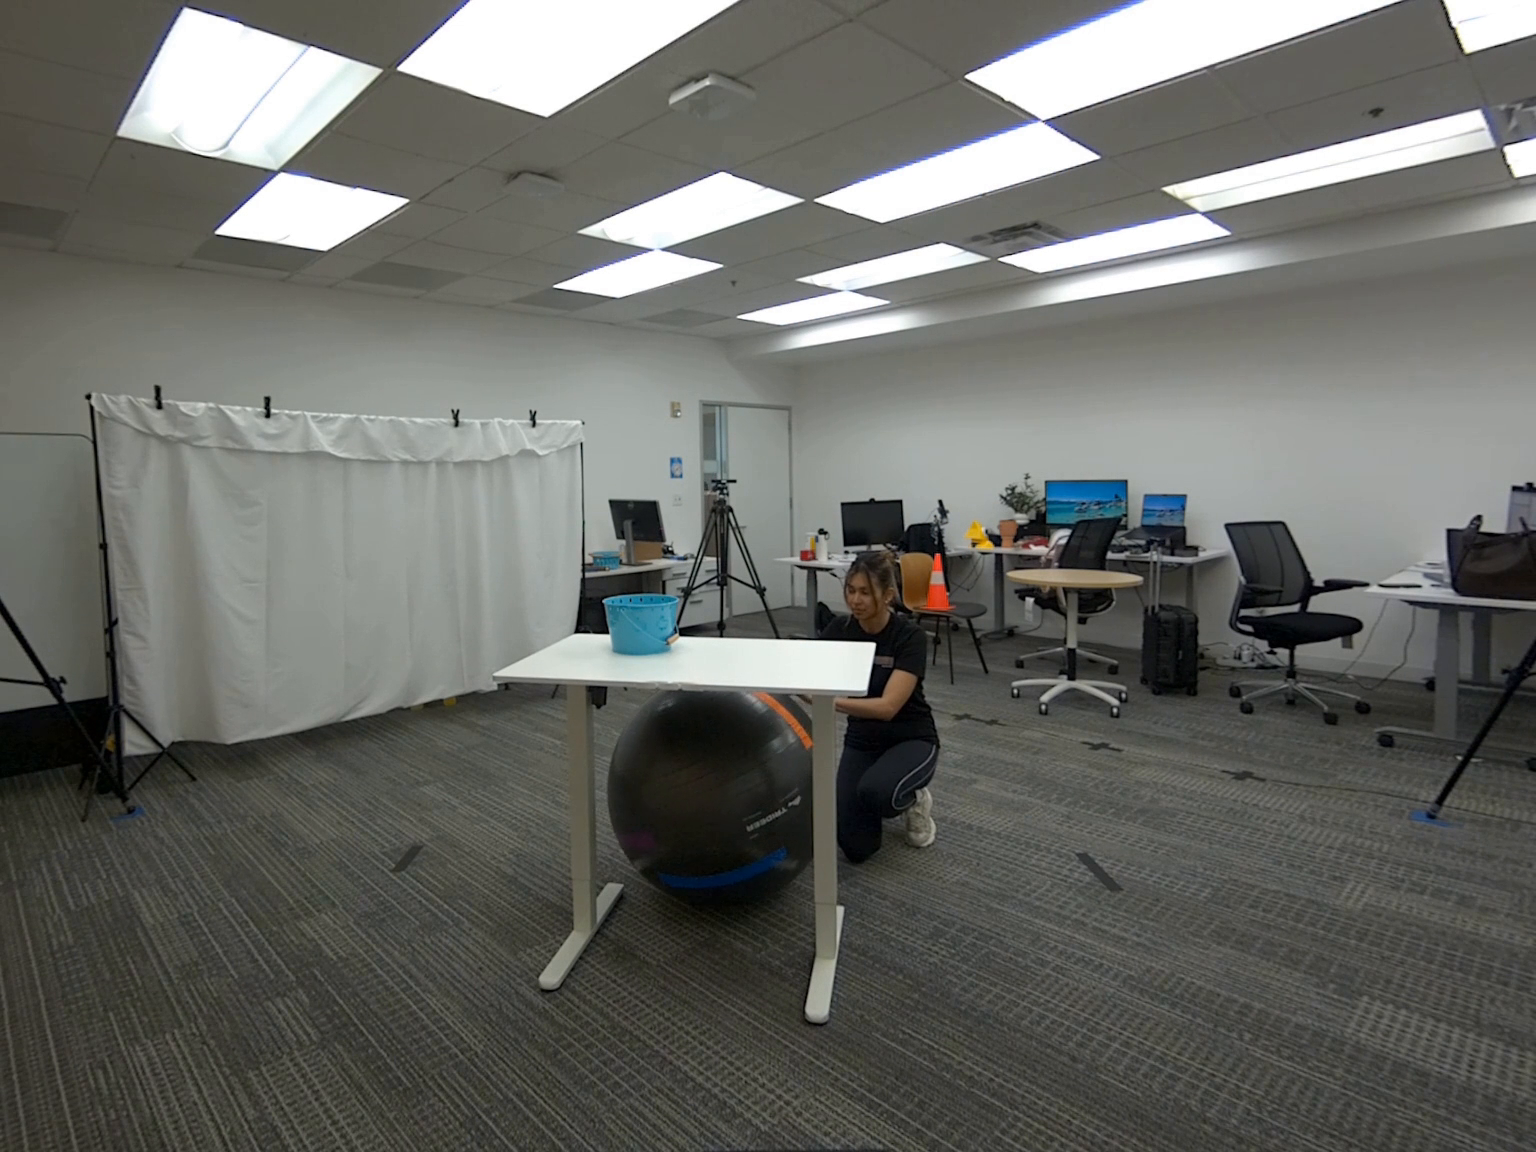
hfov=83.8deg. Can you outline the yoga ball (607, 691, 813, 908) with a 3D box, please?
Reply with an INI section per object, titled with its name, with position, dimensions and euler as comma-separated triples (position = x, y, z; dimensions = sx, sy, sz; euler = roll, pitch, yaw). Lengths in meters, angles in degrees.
[yoga ball]
position = -0.159, 0.713, 2.872
dimensions = 0.757, 0.755, 0.762
euler = -1, 5, -2
